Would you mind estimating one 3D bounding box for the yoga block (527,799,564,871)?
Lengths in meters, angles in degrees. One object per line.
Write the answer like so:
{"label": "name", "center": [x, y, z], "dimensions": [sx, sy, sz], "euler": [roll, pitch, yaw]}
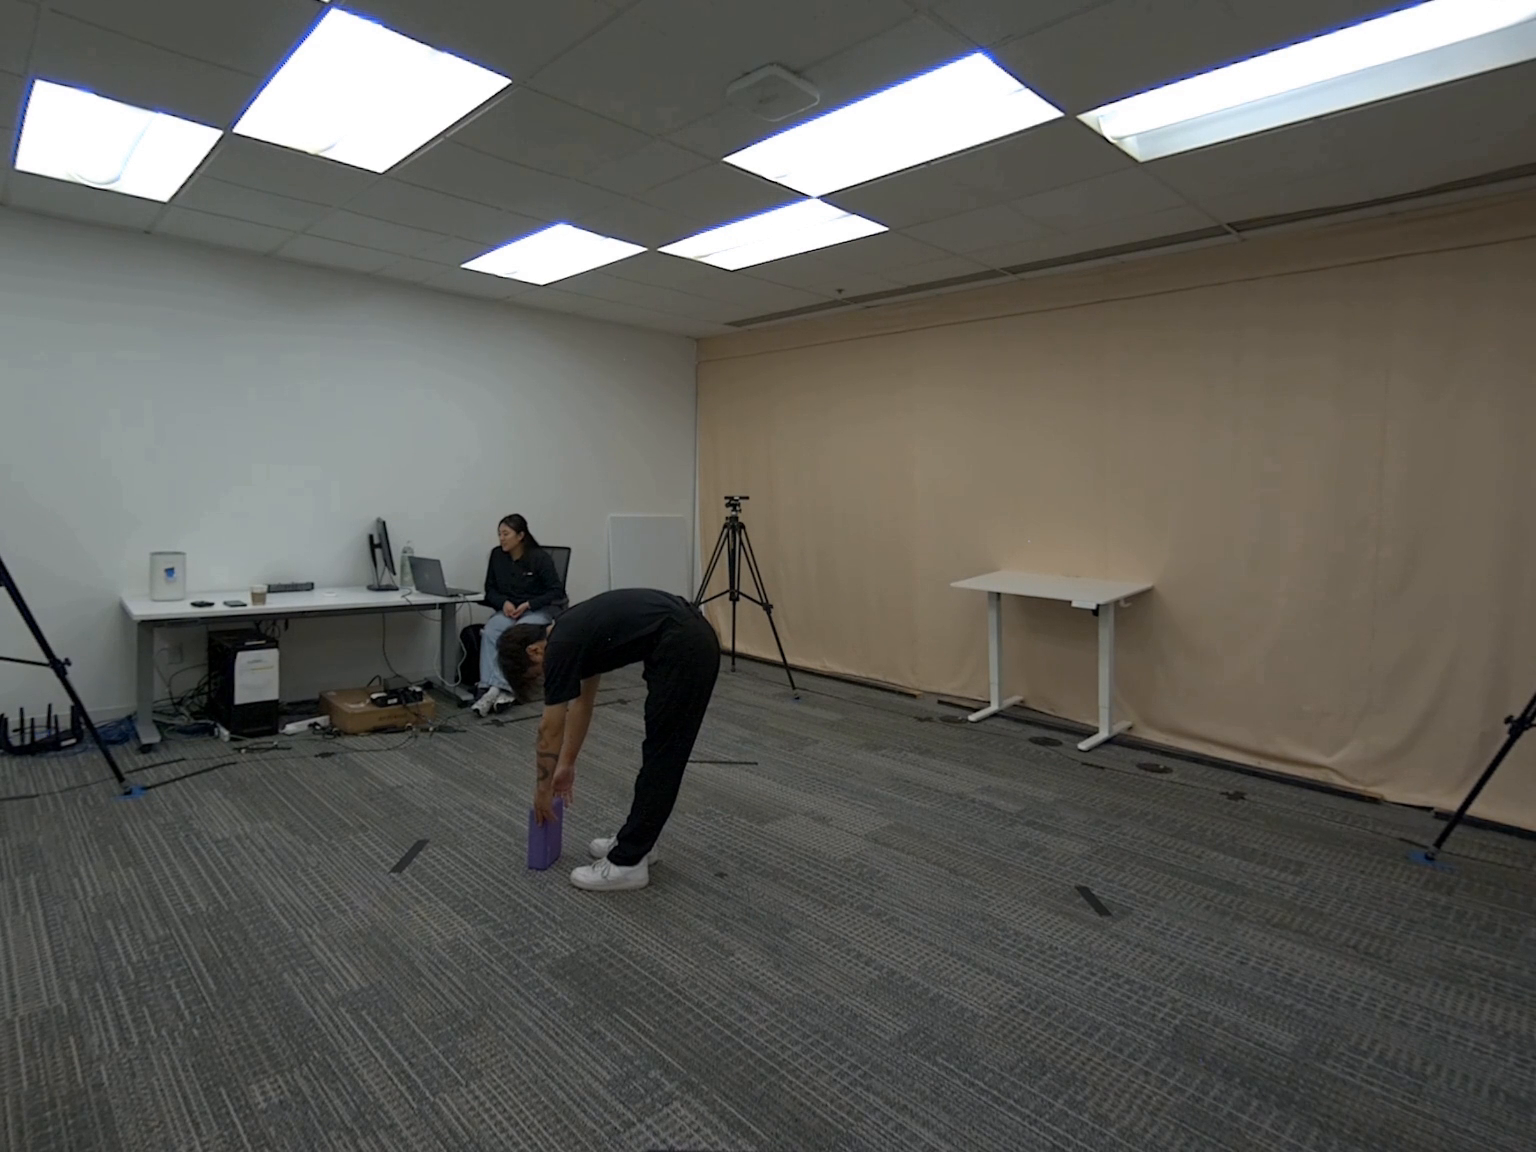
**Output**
{"label": "yoga block", "center": [-0.838, 0.963, 3.172], "dimensions": [0.077, 0.229, 0.148], "euler": [1, 3, 10]}
